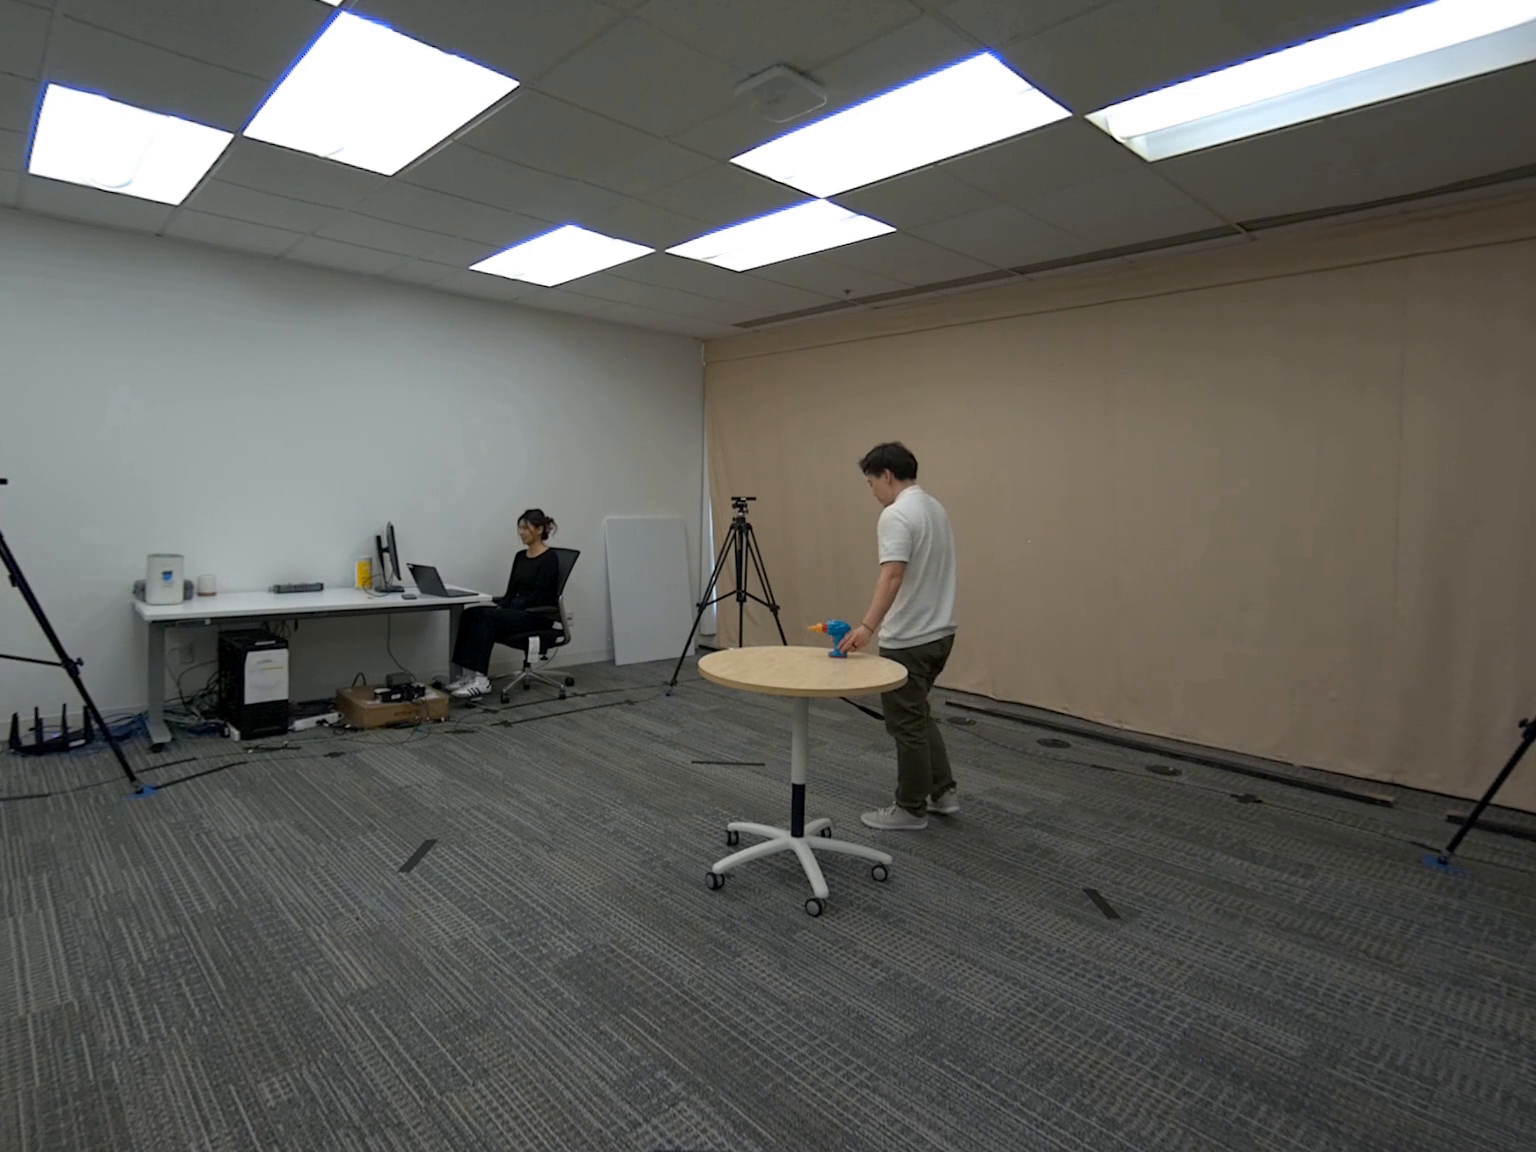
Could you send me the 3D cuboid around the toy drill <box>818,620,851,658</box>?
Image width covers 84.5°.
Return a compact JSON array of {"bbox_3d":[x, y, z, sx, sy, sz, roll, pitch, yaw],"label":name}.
[{"bbox_3d":[0.235,0.242,3.276,0.169,0.145,0.062,3,7,-7],"label":"toy drill"}]
